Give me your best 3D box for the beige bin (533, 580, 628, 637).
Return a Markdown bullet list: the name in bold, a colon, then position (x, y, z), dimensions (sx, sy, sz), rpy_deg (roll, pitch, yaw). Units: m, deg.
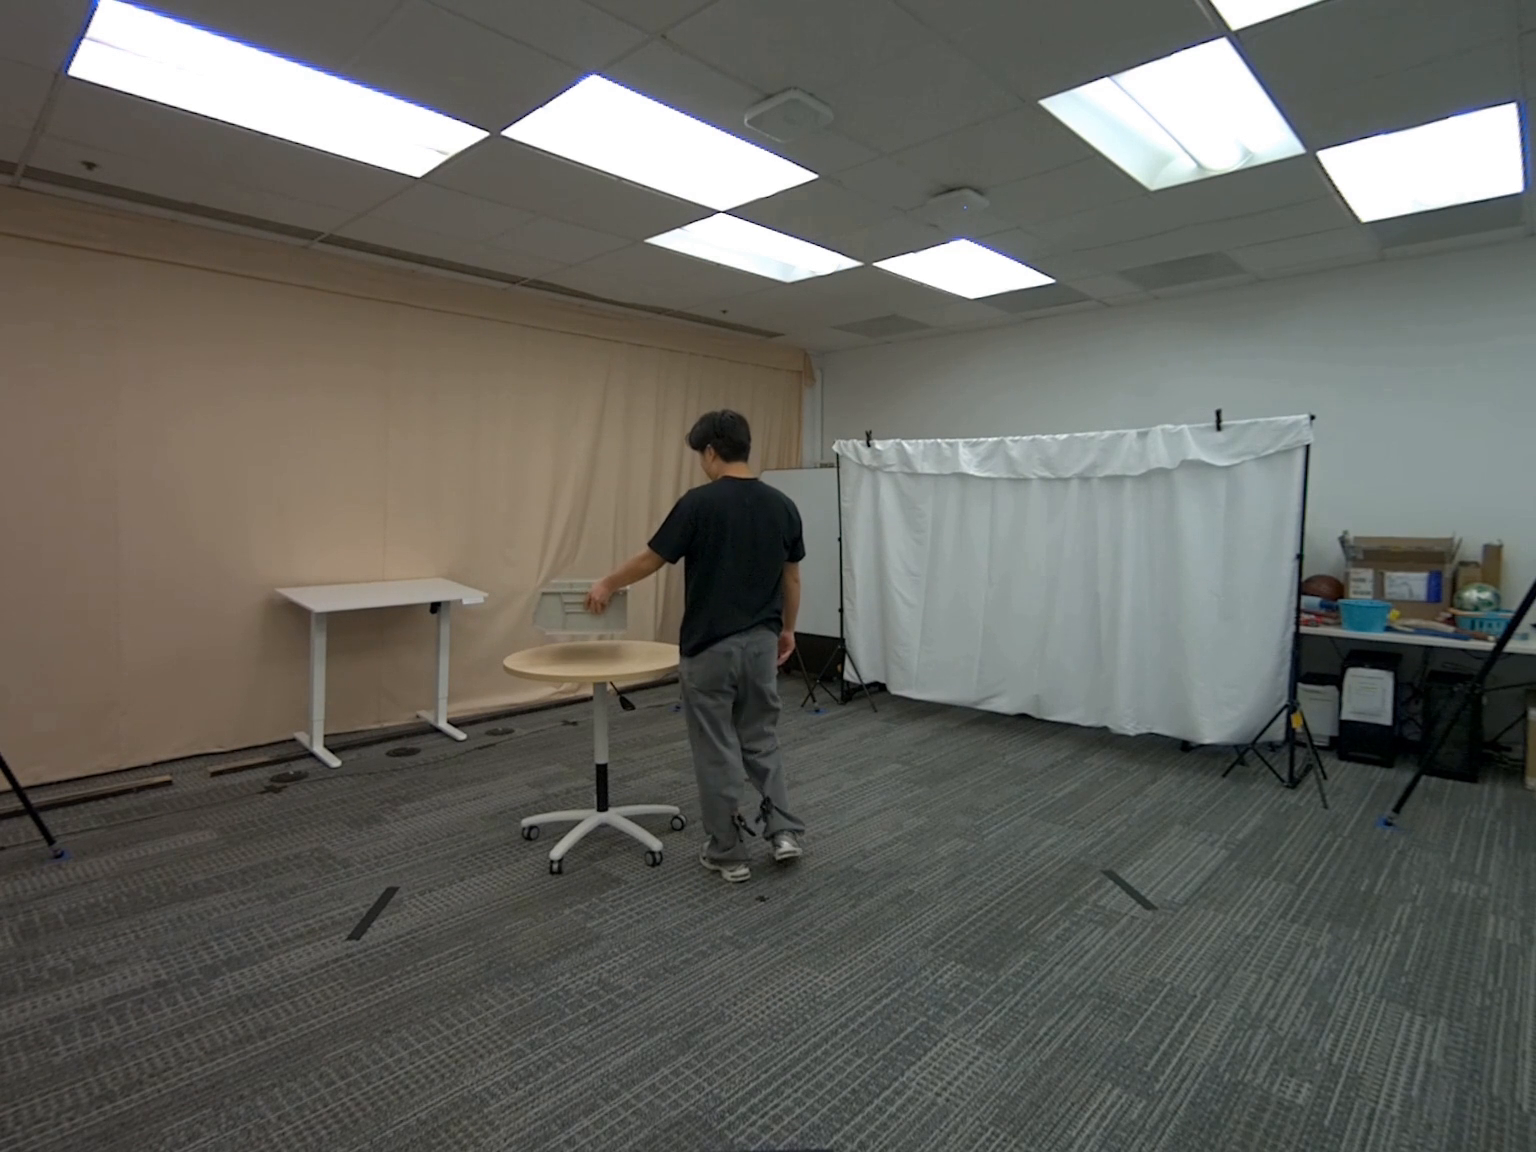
- **beige bin**: position (-0.768, 0.132, 3.486), dimensions (0.375, 0.189, 0.426), rpy_deg (0, 2, -8)
